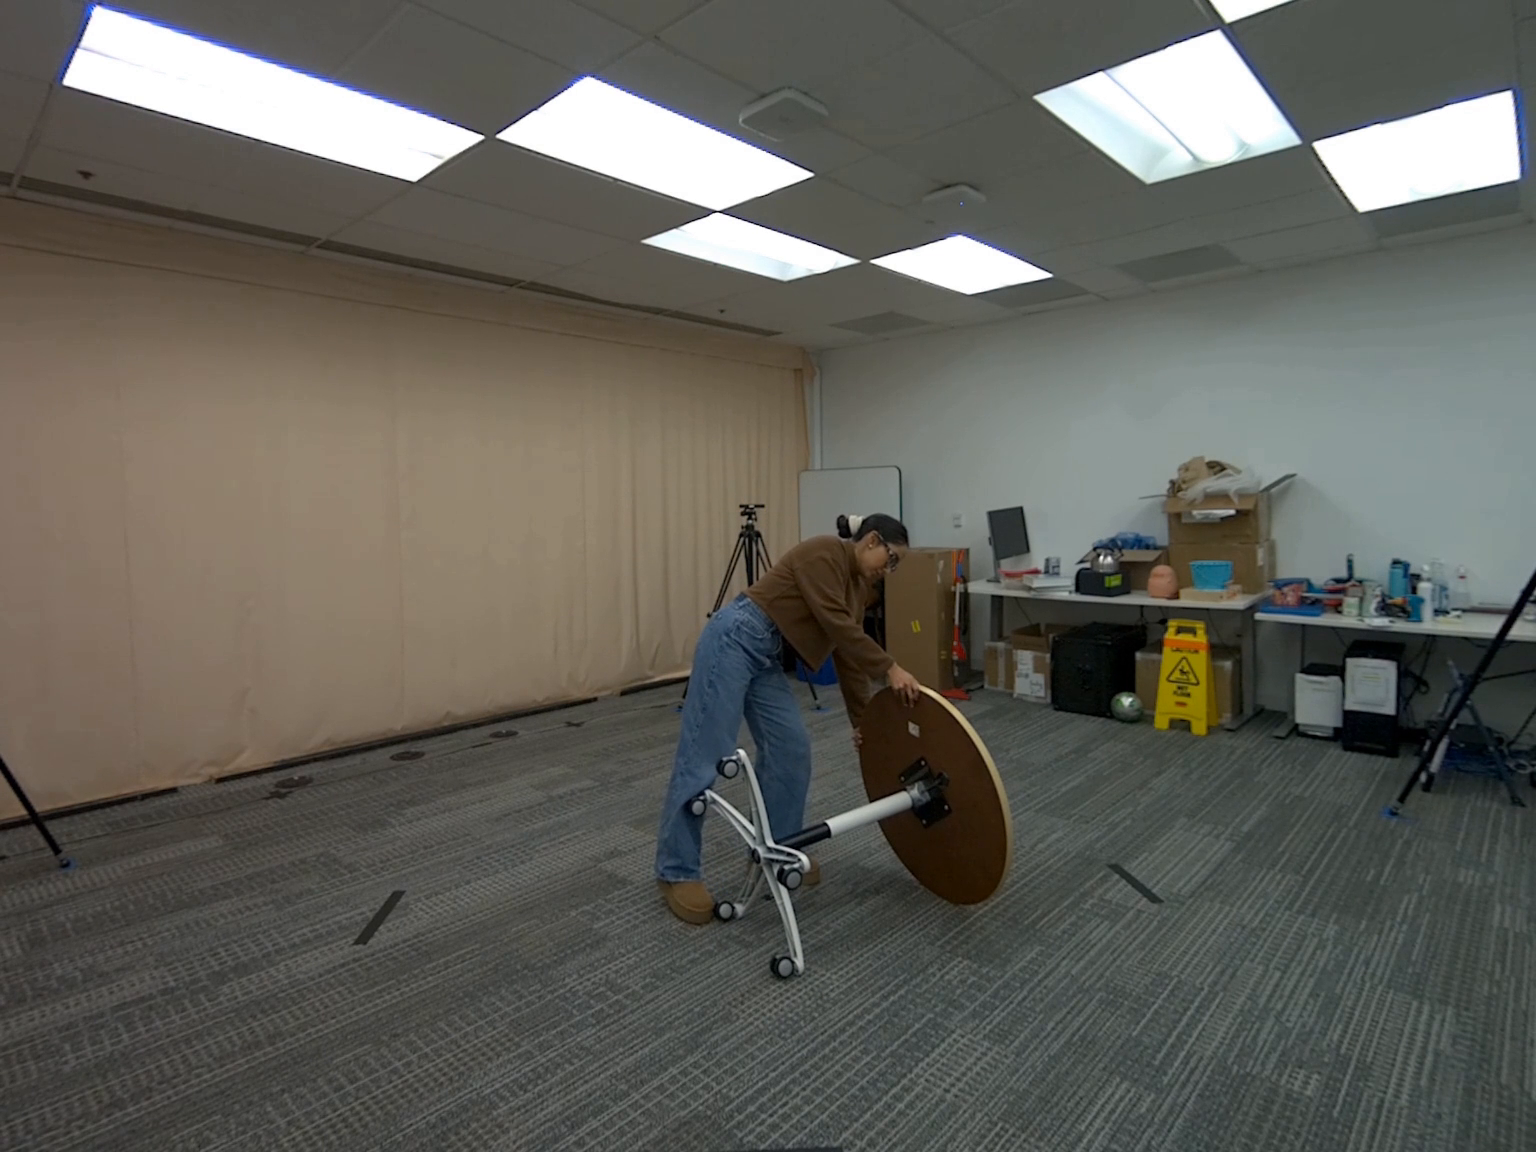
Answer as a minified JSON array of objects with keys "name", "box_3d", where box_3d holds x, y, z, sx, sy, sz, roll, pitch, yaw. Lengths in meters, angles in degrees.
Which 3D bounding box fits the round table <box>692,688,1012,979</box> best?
[{"name":"round table","box_3d":[0.241,0.820,2.768,0.777,0.760,0.785,-11,8,-27]}]
